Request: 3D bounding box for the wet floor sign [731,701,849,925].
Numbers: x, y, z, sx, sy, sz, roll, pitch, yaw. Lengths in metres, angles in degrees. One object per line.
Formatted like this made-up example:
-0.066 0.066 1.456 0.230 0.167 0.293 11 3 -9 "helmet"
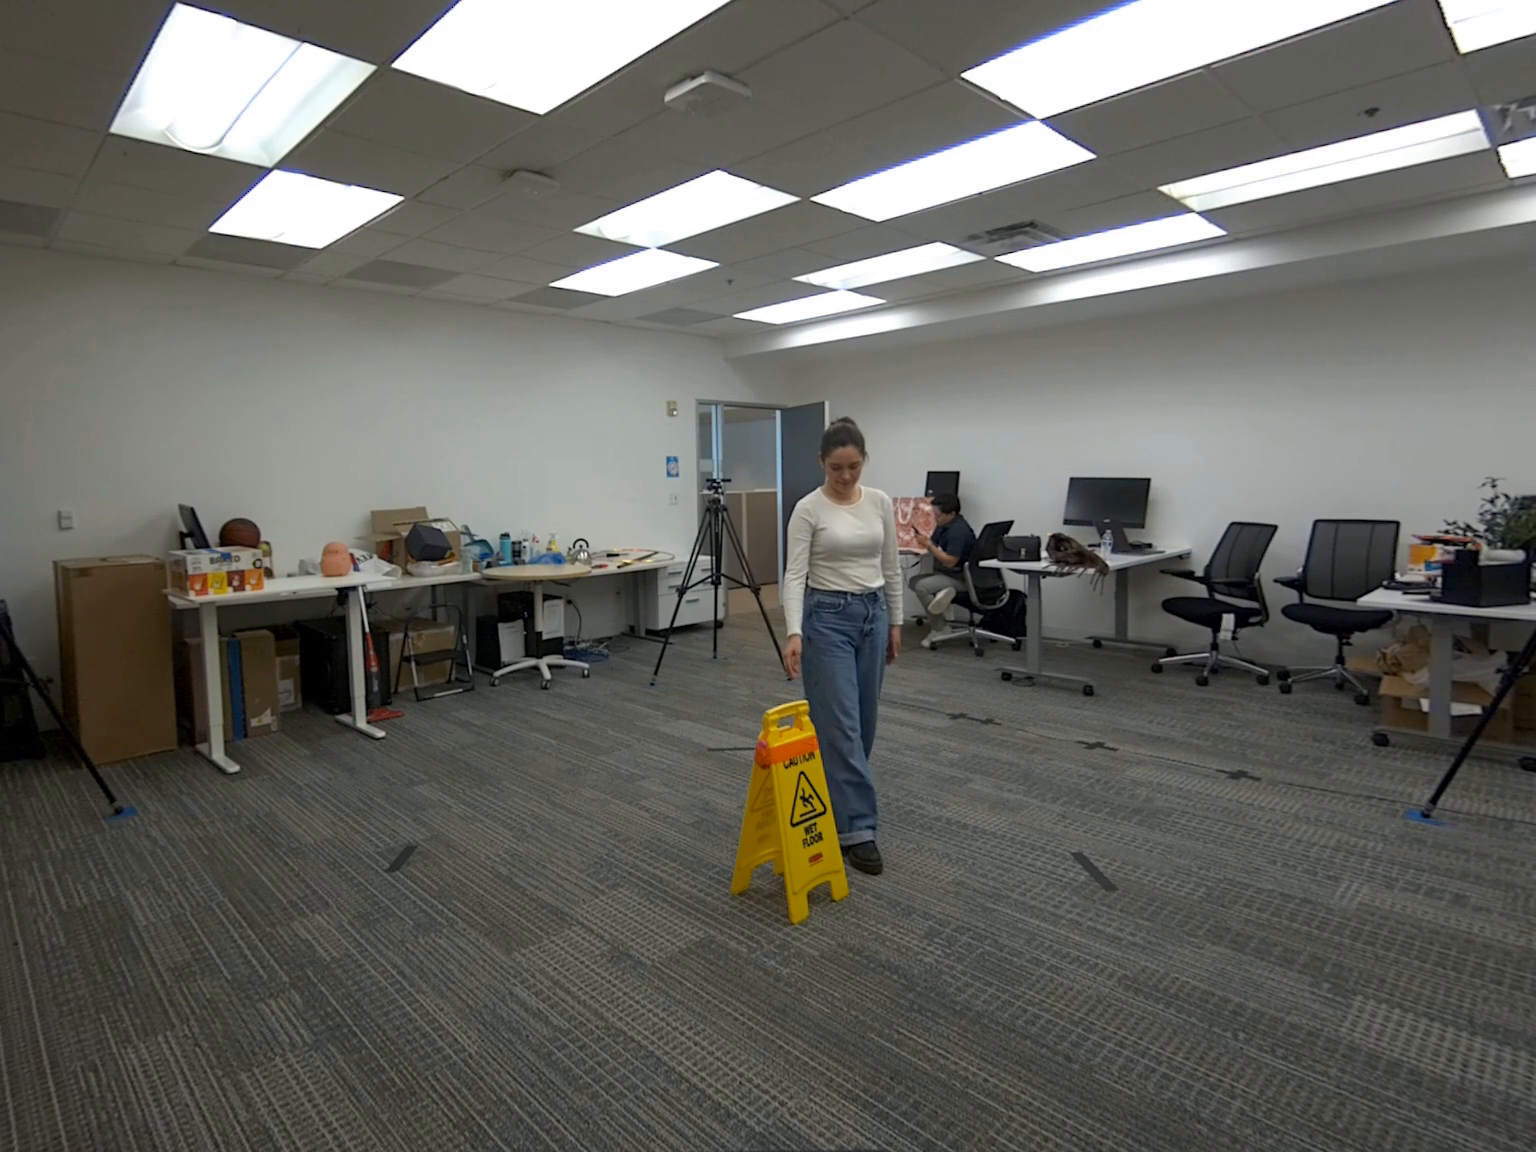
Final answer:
0.072 0.748 2.846 0.299 0.643 0.275 4 6 45 "wet floor sign"
